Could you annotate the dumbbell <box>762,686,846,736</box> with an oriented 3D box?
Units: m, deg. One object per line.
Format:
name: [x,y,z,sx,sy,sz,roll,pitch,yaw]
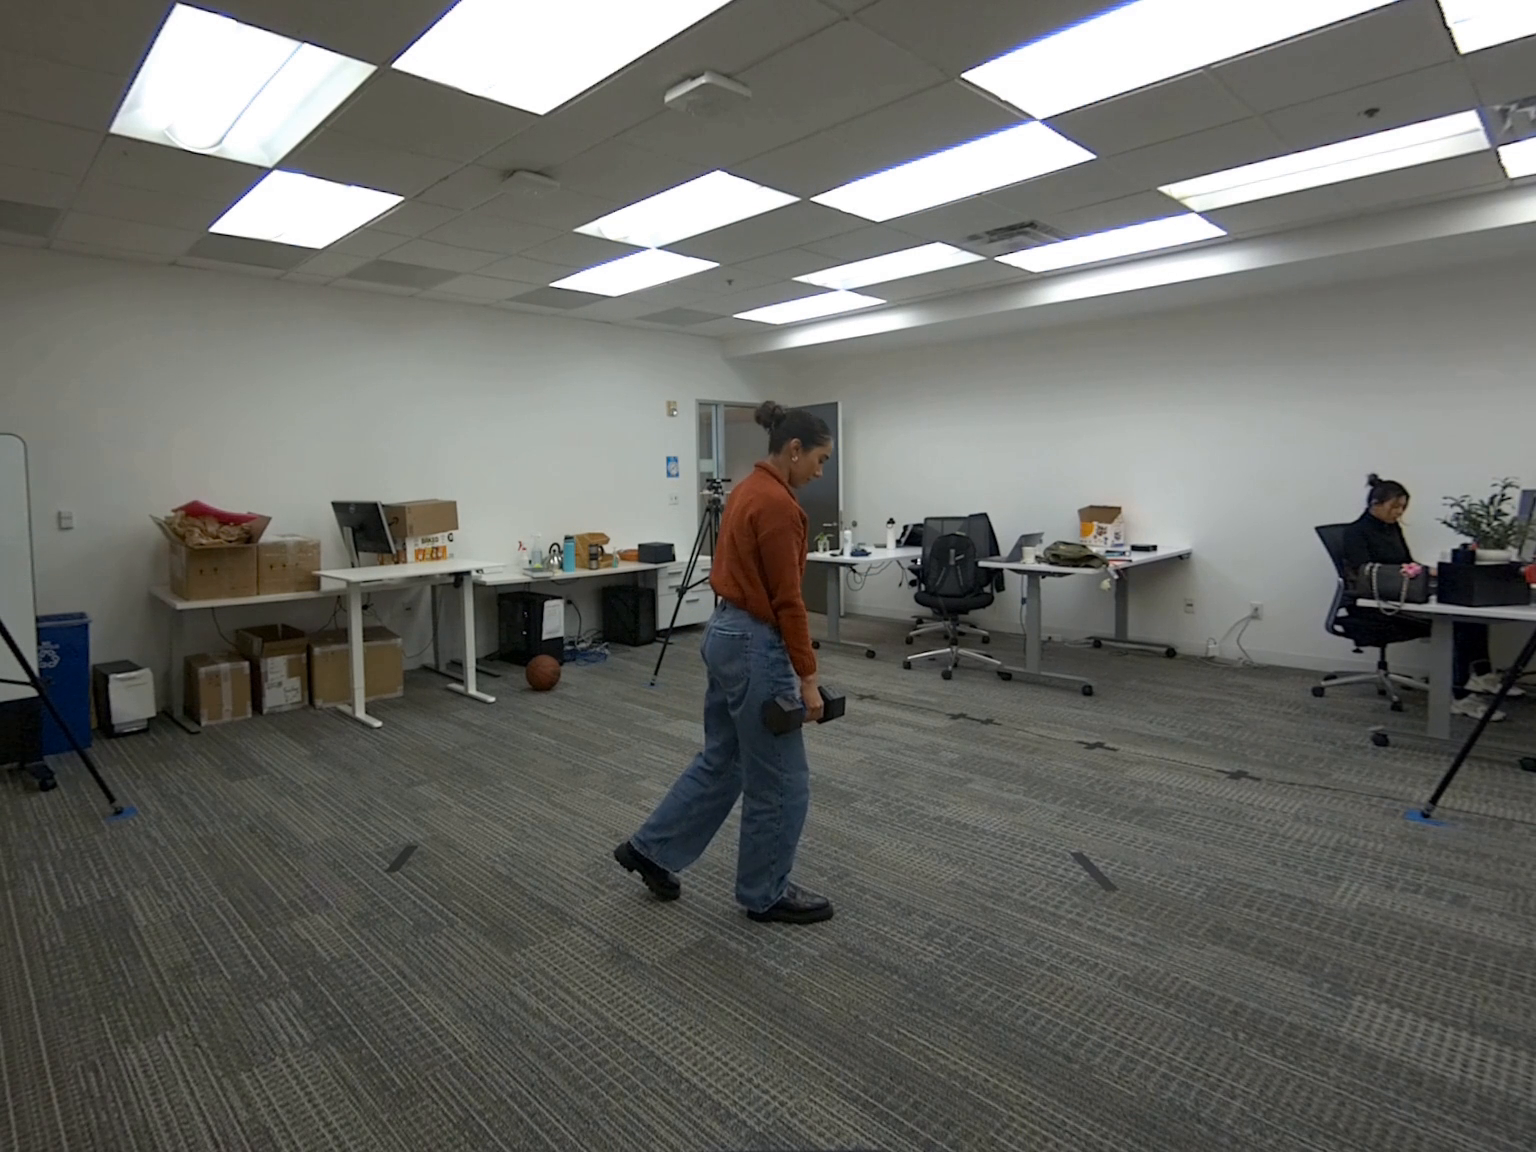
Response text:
dumbbell: [0.112,0.407,2.578,0.112,0.122,0.286,6,8,43]
